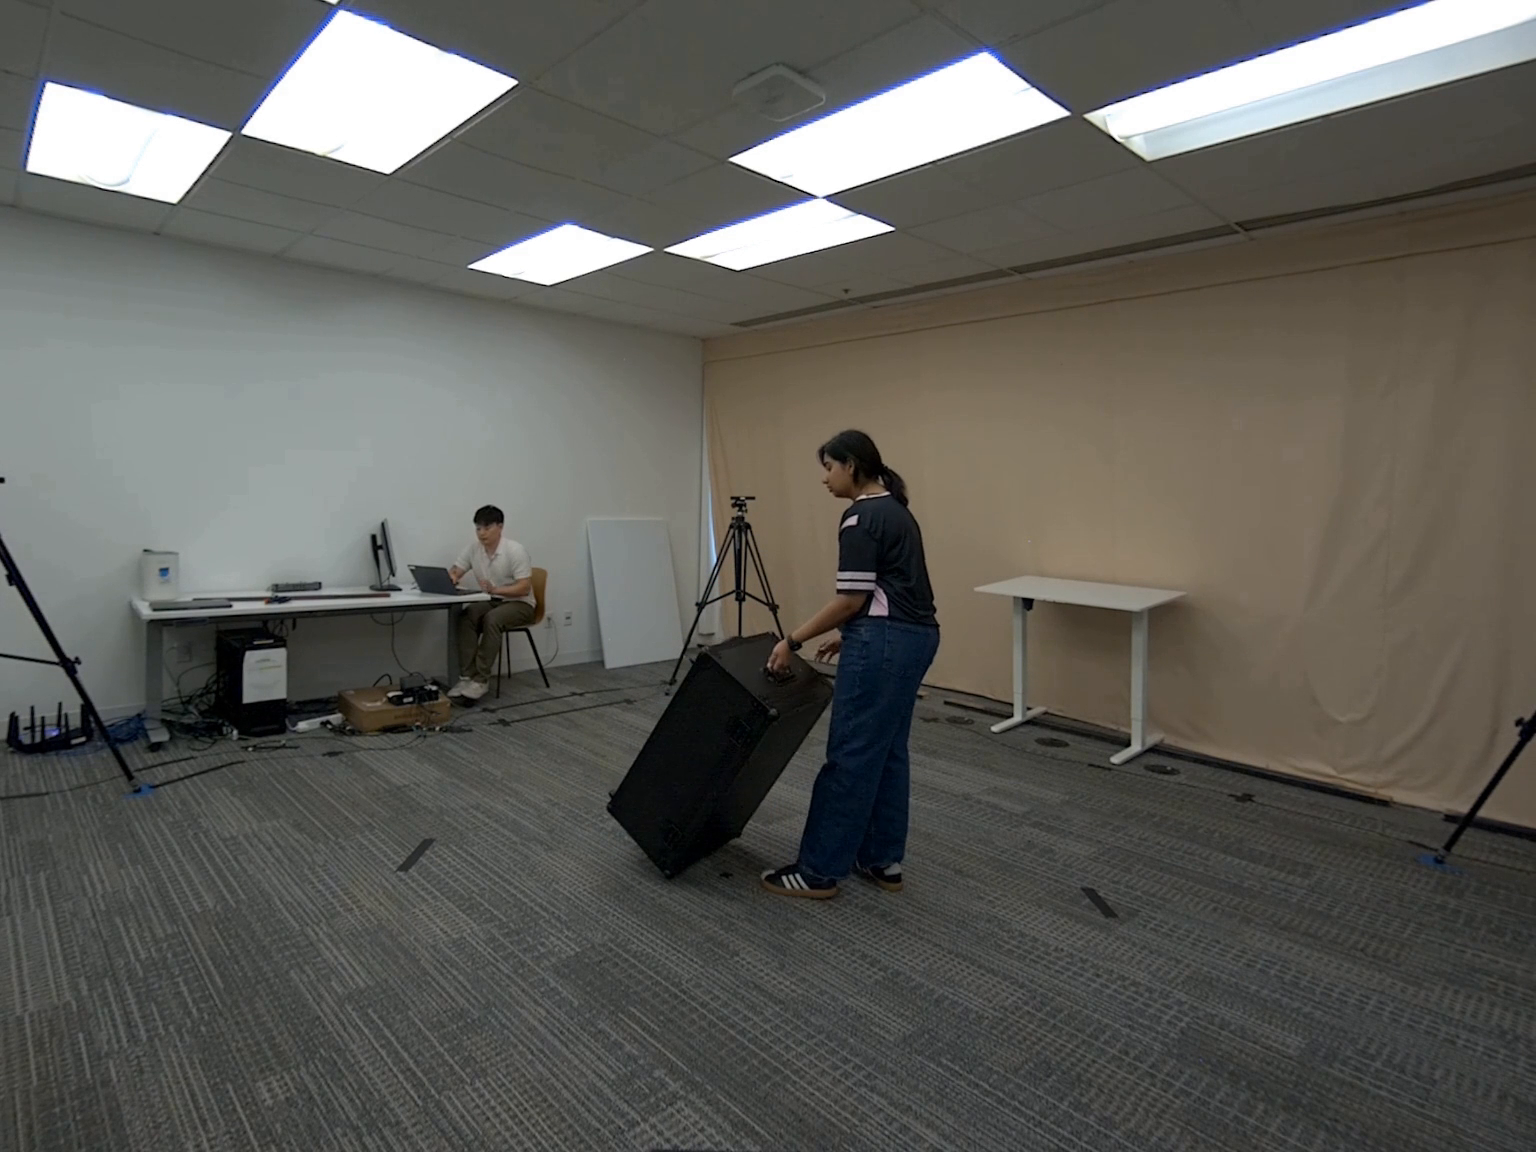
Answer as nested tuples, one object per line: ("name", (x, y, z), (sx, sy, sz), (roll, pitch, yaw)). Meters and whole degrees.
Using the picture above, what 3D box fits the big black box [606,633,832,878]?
("big black box", (-0.197, 0.673, 3.143), (0.394, 0.865, 0.513), (39, 21, 22))
